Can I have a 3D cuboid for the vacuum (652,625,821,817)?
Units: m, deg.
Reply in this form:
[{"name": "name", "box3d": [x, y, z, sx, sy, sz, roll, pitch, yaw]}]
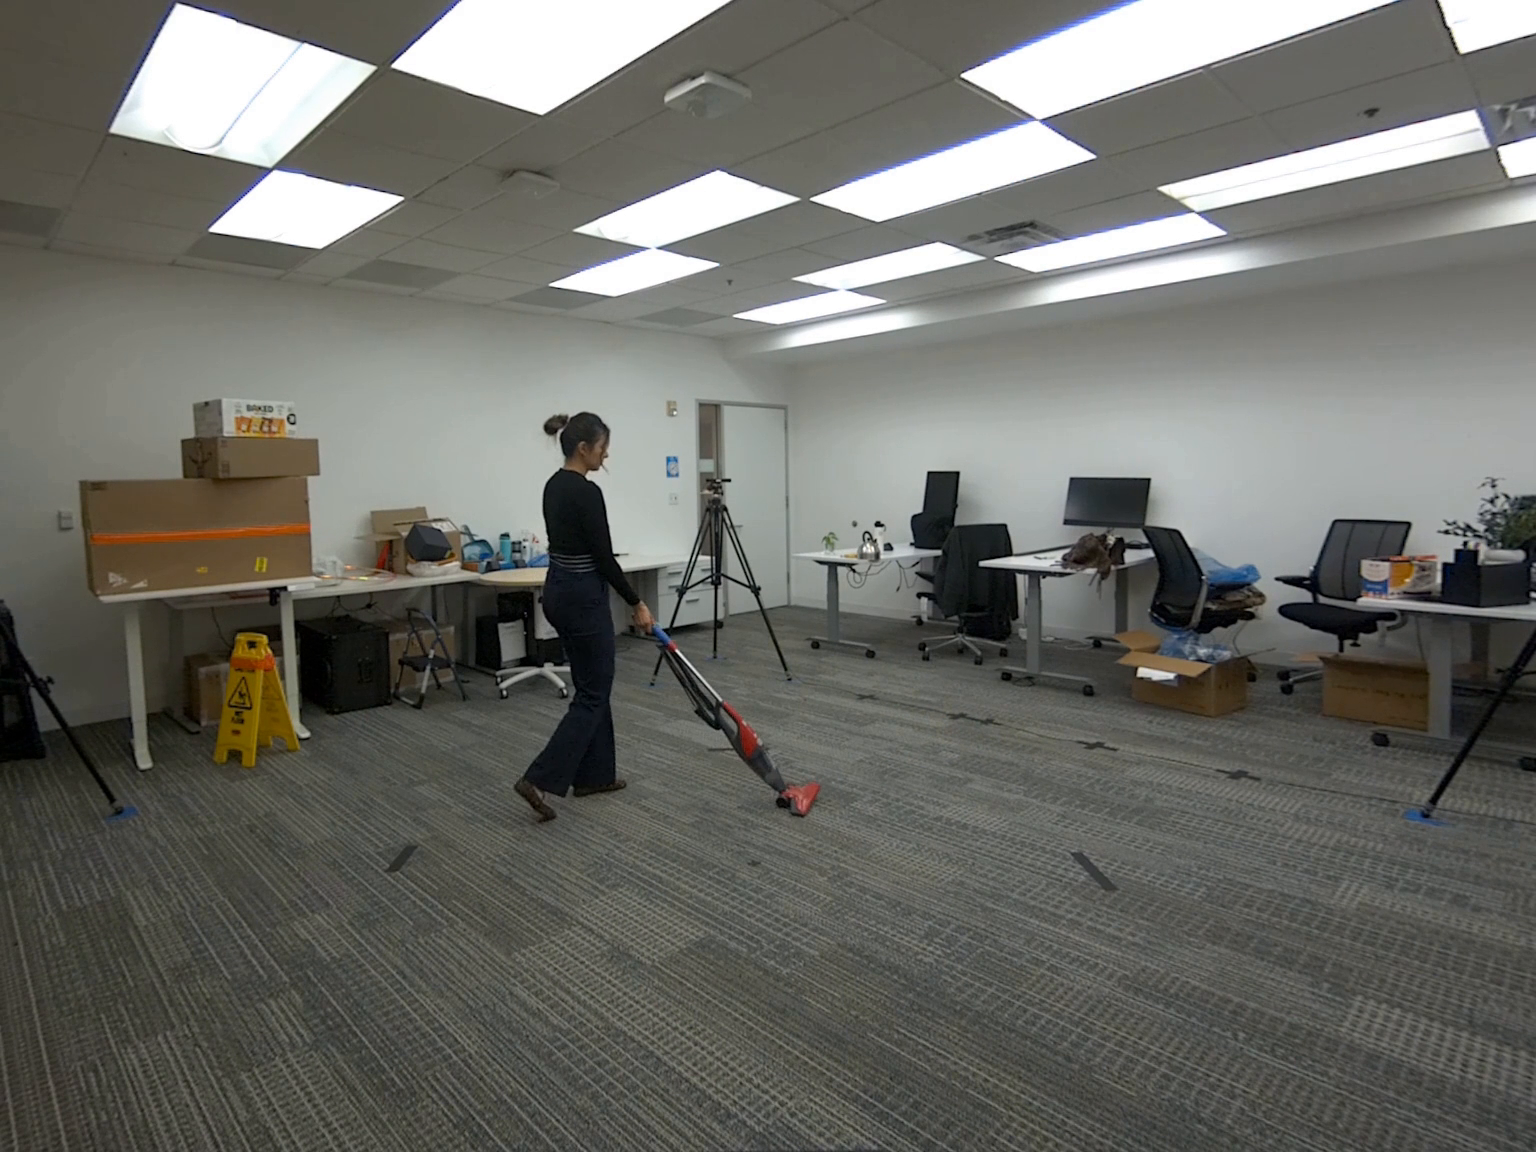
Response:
[{"name": "vacuum", "box3d": [-0.214, 0.571, 3.696, 0.144, 1.057, 0.250, -43, -6, 21]}]
